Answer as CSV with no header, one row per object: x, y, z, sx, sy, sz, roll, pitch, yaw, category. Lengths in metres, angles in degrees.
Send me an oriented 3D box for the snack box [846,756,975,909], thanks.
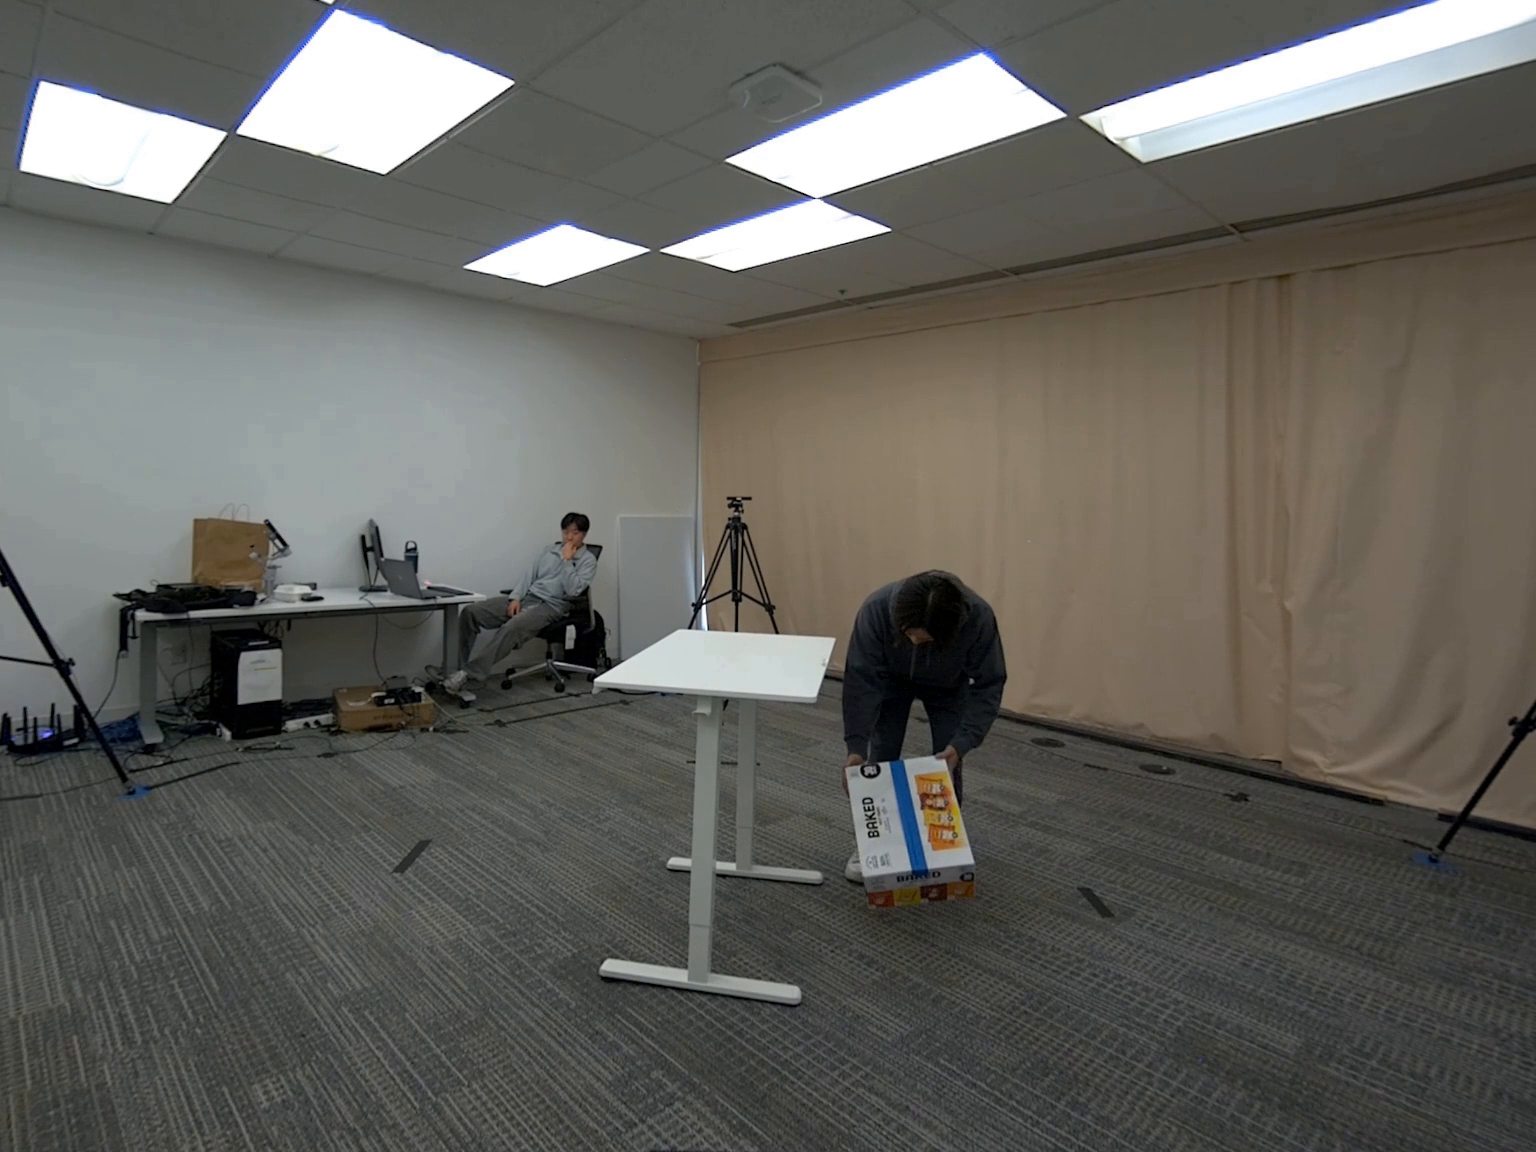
0.453,0.838,2.768,0.341,0.200,0.414,-9,41,4,snack box
